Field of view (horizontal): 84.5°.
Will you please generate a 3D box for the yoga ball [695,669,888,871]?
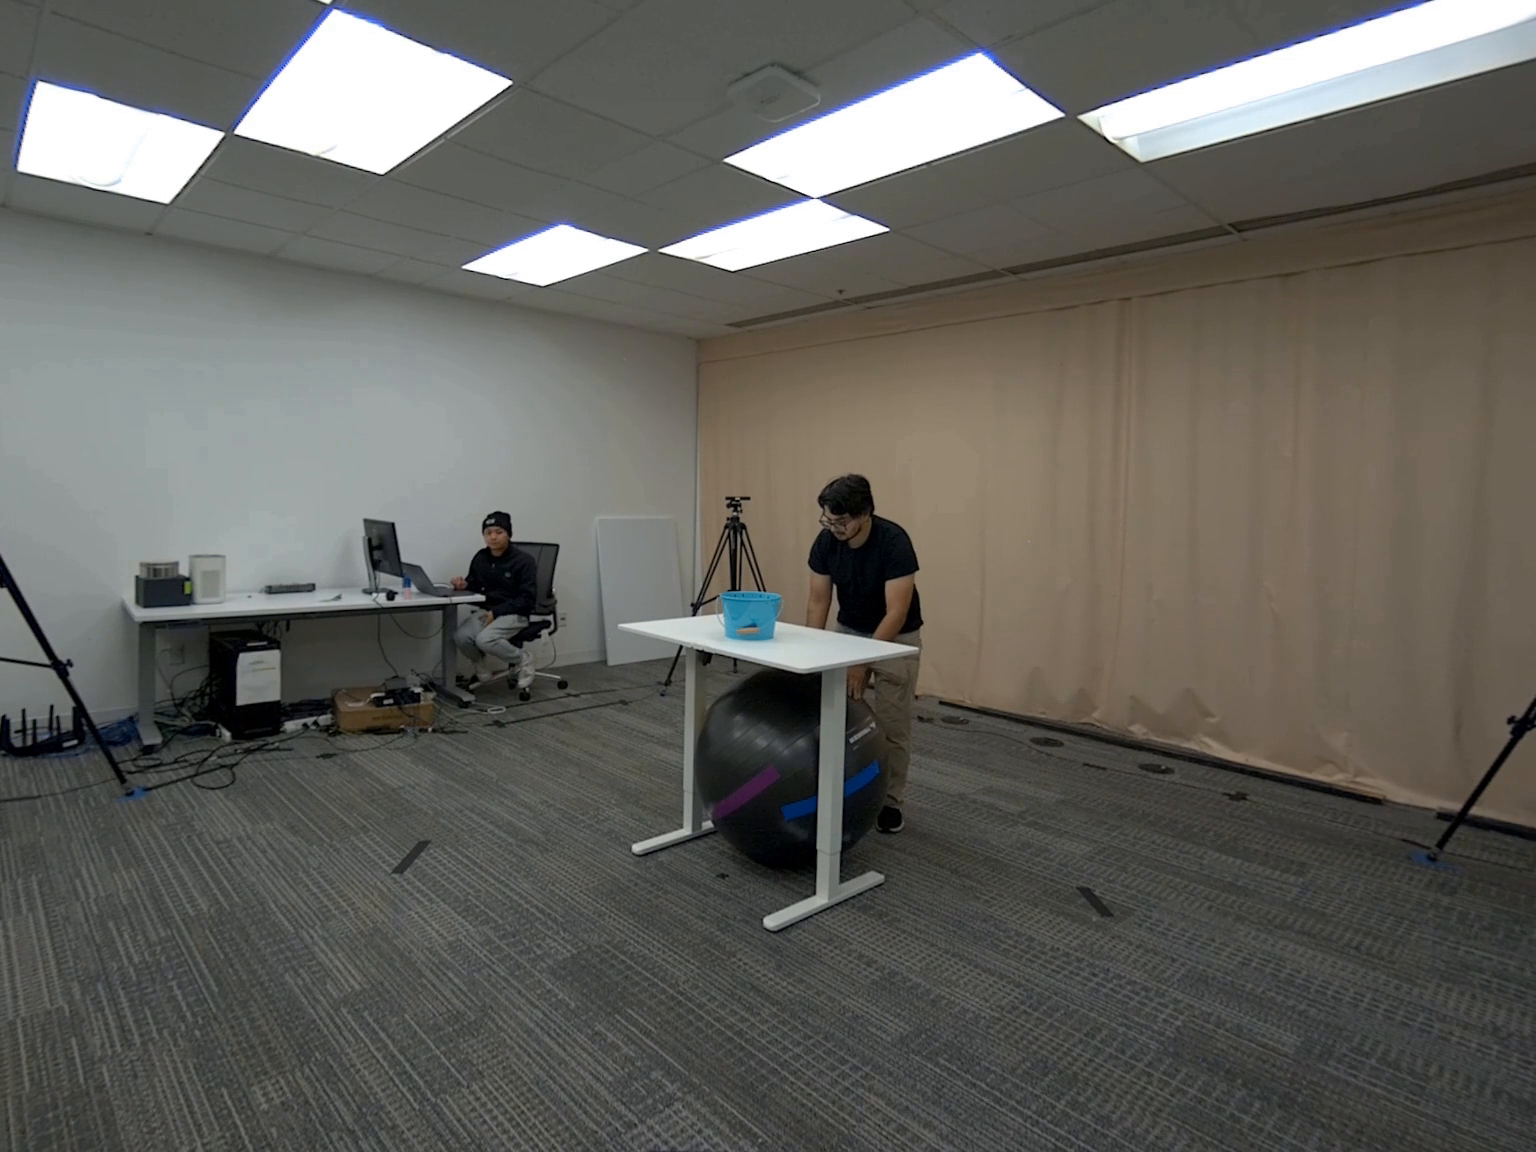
[{"bbox_3d":[0.096,0.742,3.284,0.757,0.756,0.761,1,4,-1],"label":"yoga ball"}]
